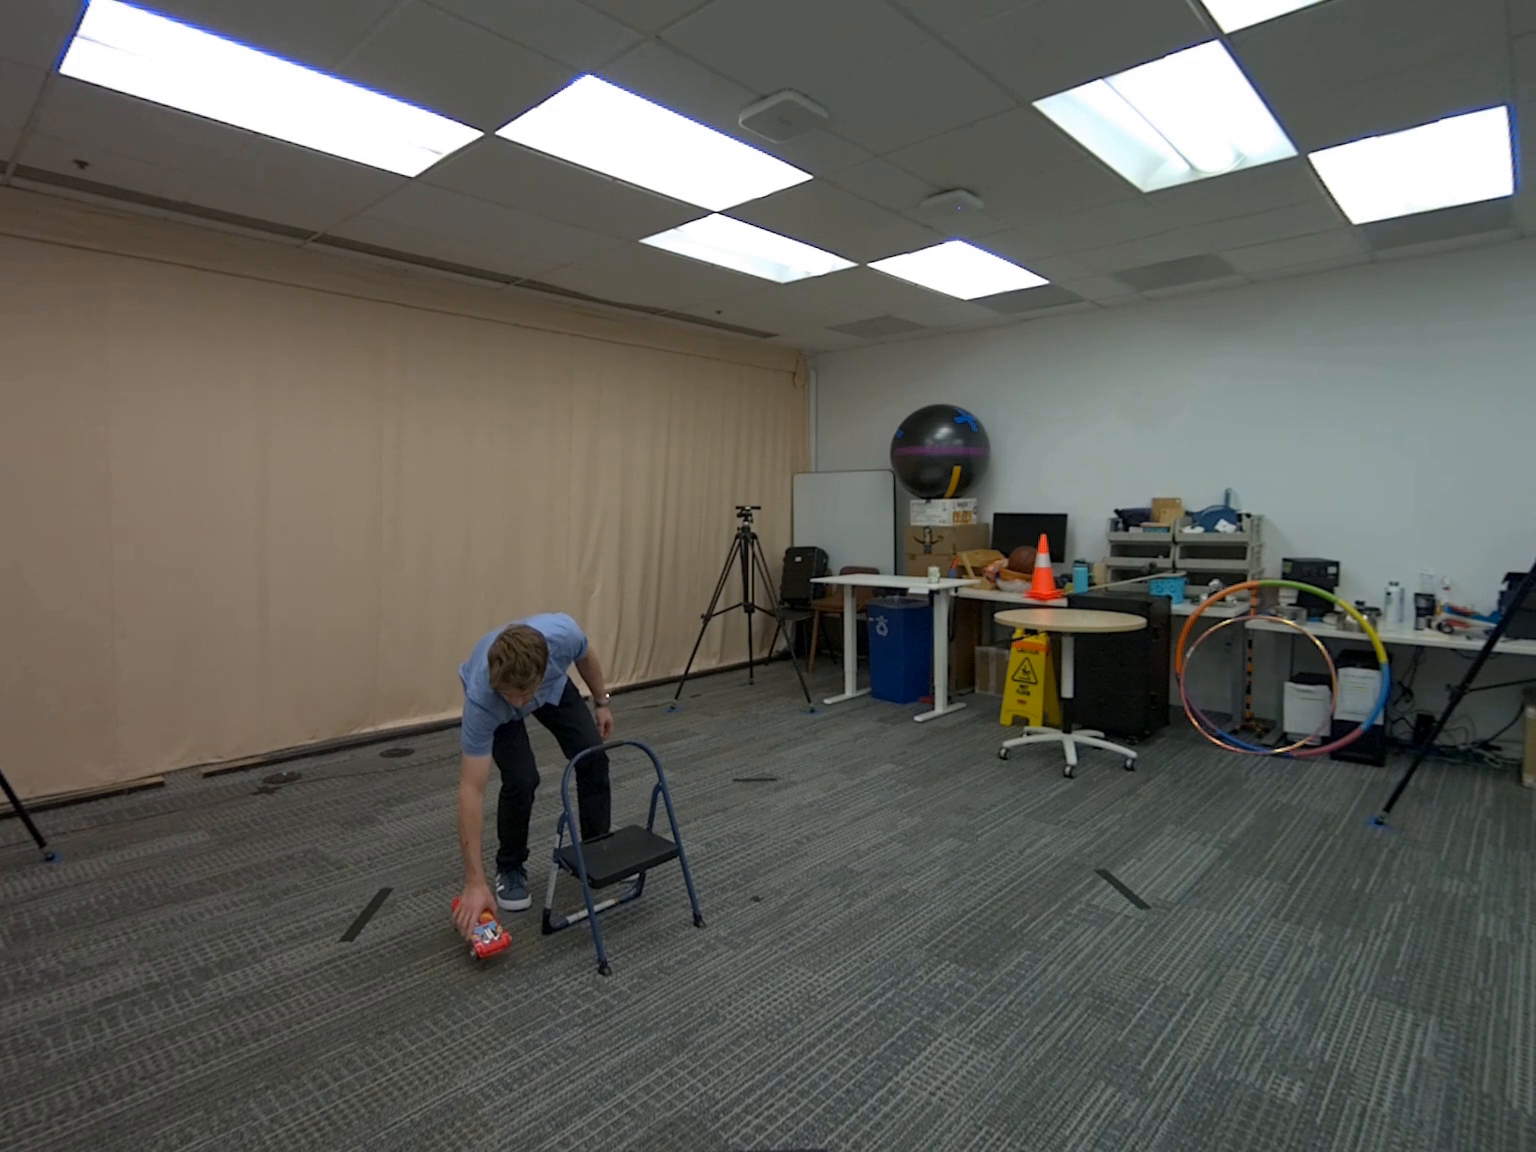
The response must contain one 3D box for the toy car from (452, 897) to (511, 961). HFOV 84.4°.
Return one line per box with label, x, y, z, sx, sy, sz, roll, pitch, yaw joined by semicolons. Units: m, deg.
toy car;-0.902;1.087;2.625;0.126;0.082;0.264;-7;30;-38
